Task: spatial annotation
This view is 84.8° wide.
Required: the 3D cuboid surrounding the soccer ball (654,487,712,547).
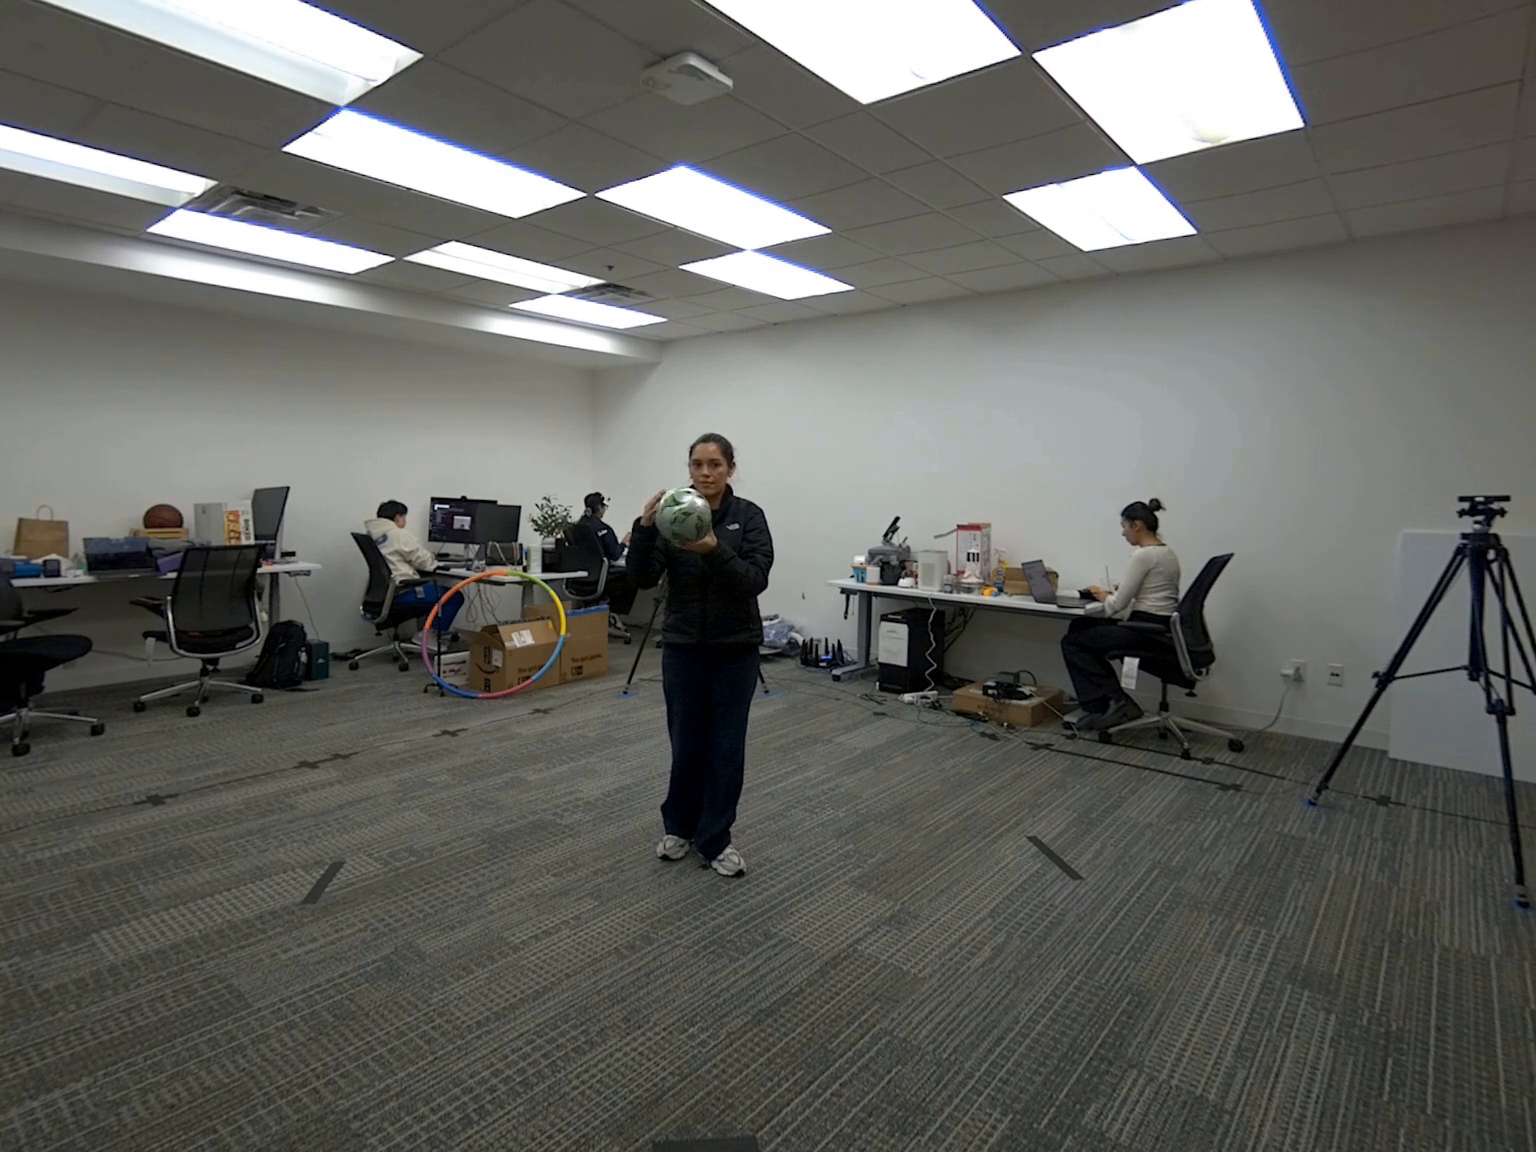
[{"bbox_3d":[-0.300,-0.209,2.810,0.187,0.187,0.188,1,4,-2],"label":"soccer ball"}]
